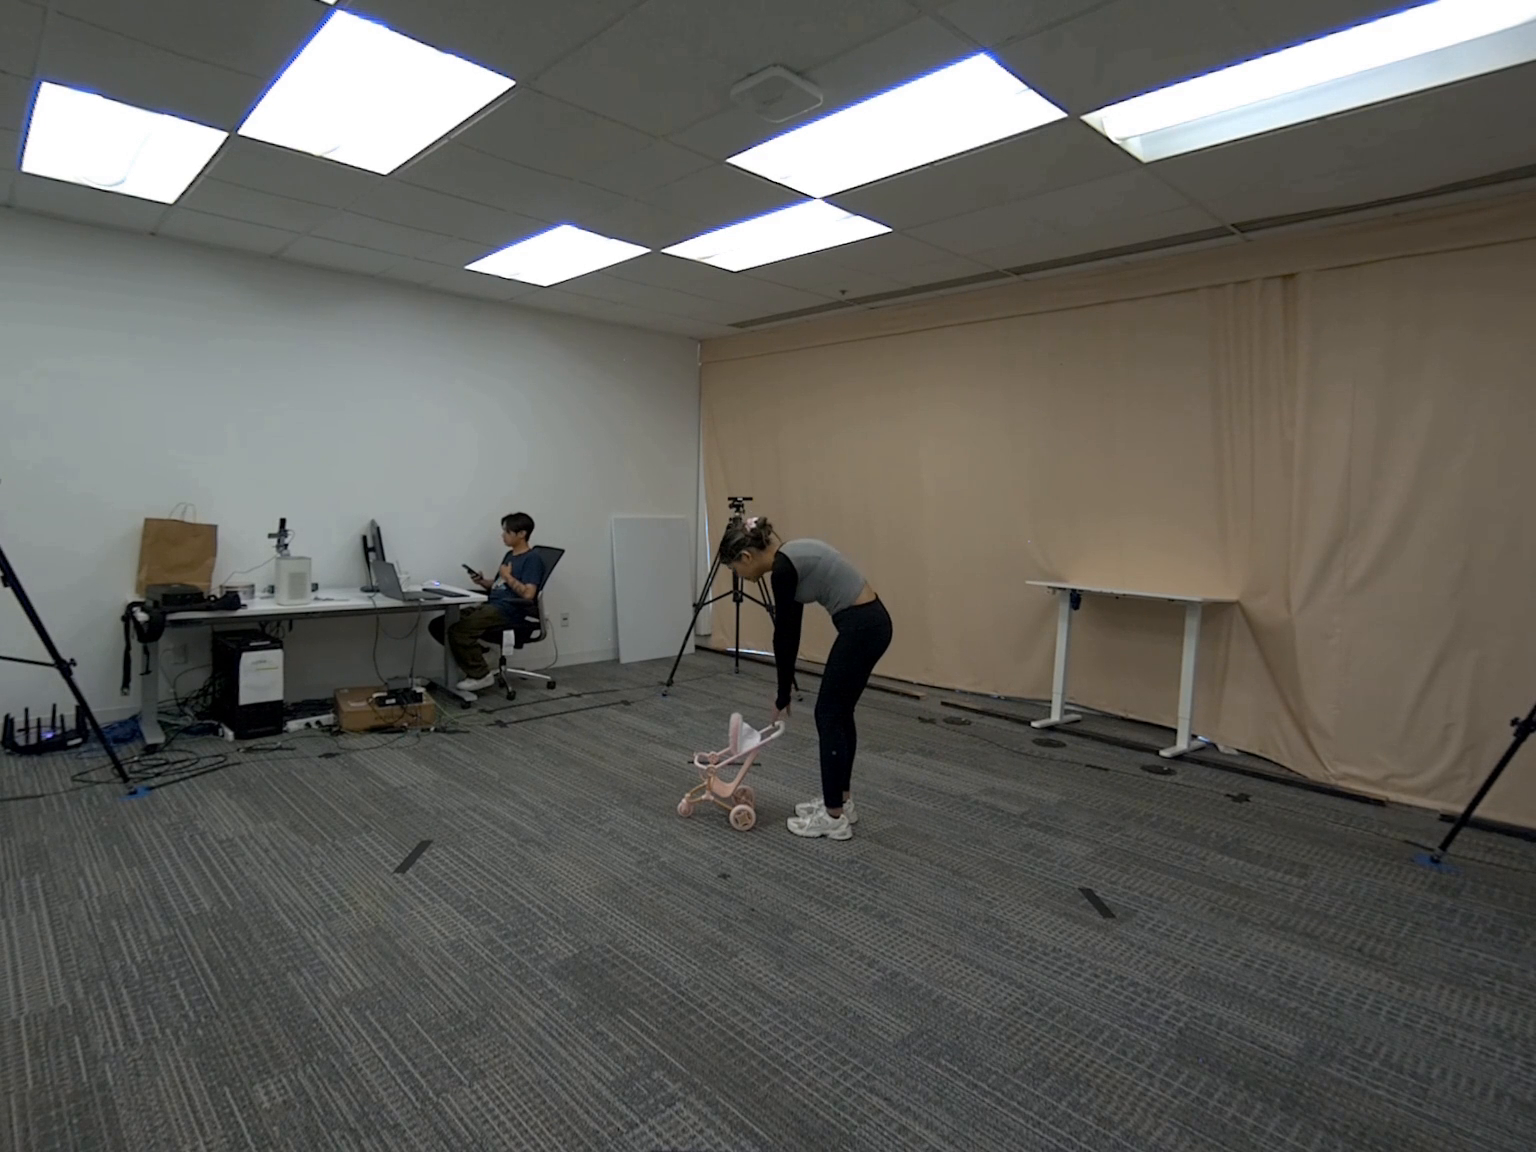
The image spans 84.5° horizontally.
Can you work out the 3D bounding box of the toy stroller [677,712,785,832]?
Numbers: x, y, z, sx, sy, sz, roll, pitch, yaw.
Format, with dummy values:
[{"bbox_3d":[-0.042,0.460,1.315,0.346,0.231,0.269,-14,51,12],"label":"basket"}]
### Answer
[{"bbox_3d":[-0.172,0.834,3.661,0.343,0.534,0.280,18,4,5],"label":"toy stroller"}]
